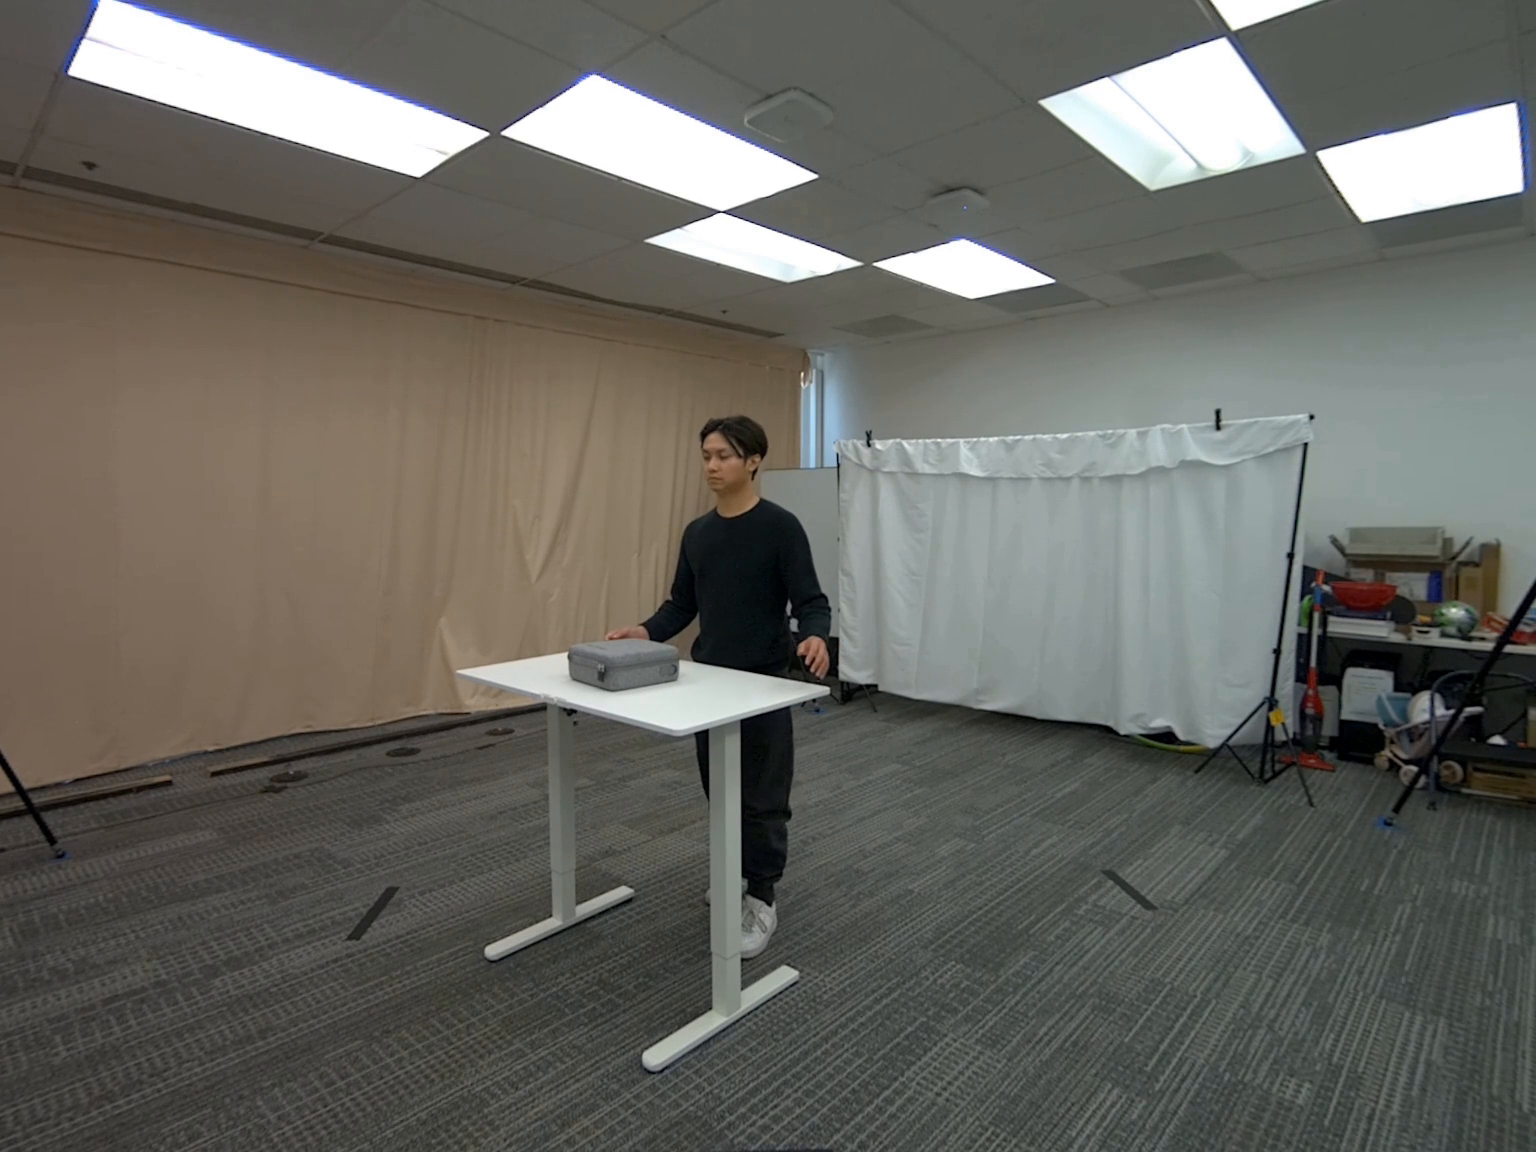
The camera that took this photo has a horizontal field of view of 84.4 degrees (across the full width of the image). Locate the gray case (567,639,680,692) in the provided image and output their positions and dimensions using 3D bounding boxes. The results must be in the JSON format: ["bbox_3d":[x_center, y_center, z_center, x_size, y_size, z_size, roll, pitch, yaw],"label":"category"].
[{"bbox_3d":[-0.423,0.255,2.483,0.253,0.104,0.265,-4,5,-42],"label":"gray case"}]
